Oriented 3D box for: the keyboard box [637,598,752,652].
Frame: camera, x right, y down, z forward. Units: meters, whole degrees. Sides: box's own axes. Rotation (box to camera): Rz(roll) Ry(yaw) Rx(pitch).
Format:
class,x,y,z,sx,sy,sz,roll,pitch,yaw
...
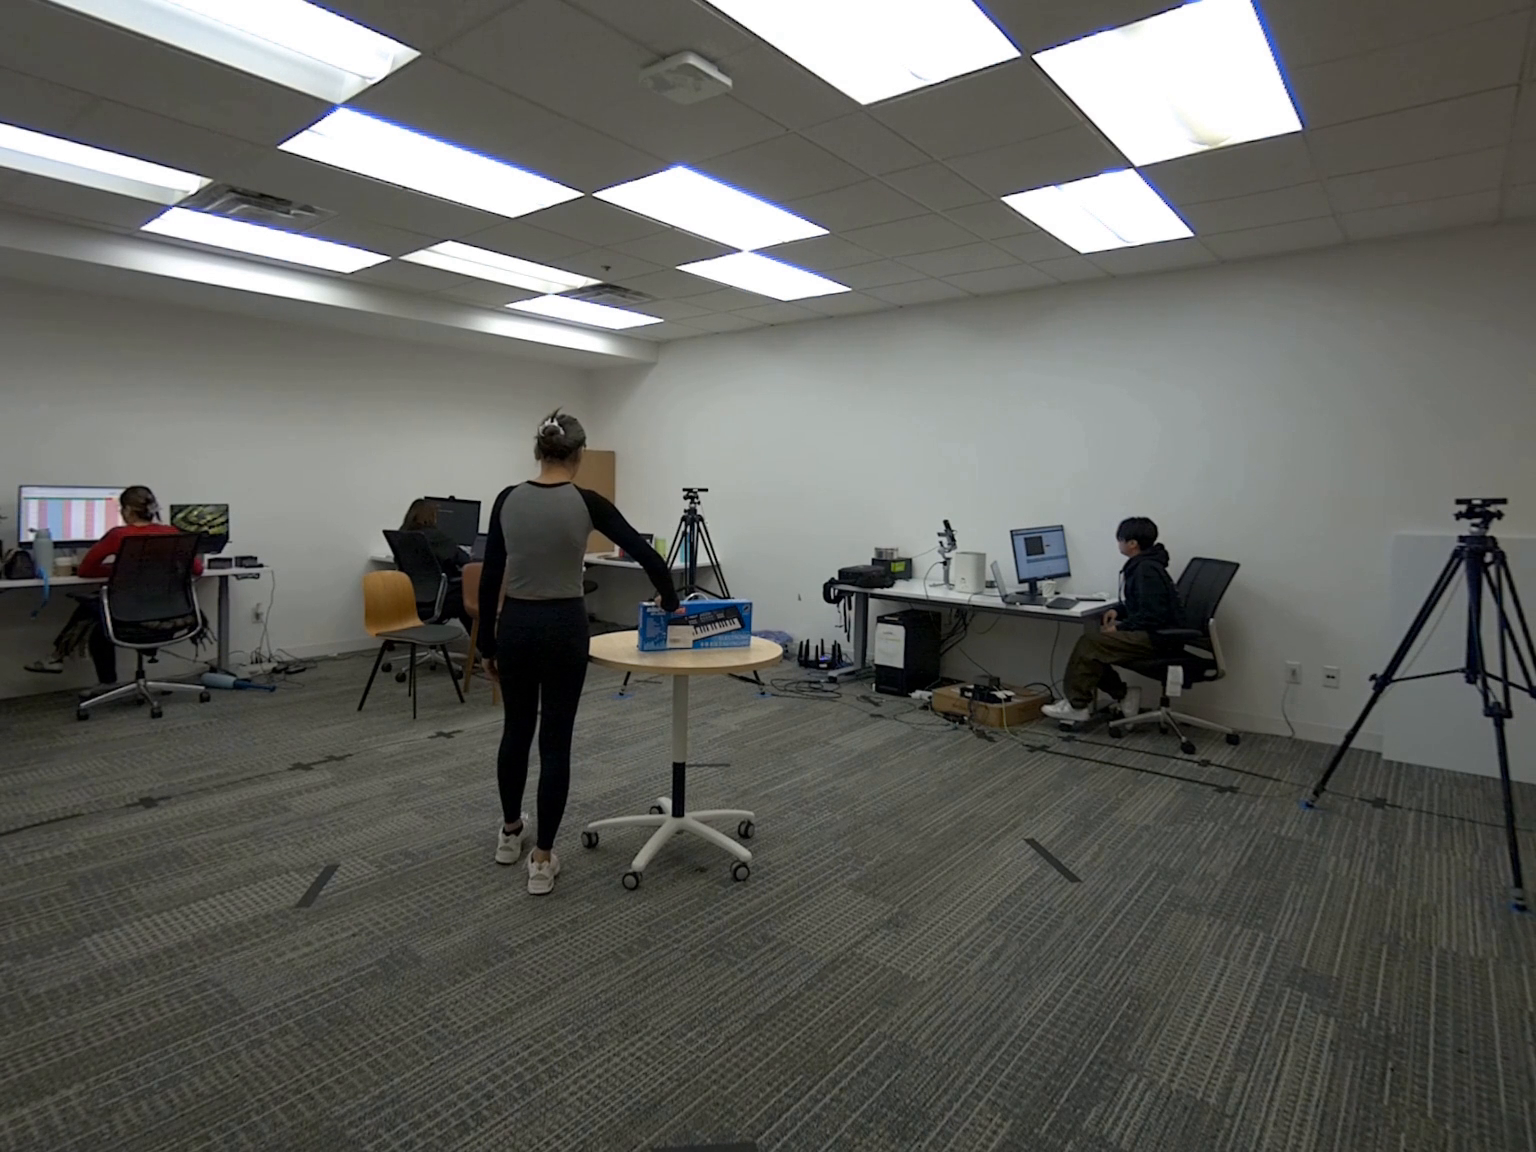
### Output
class,x,y,z,sx,sy,sz,roll,pitch,yaw
keyboard box,-0.281,0.184,3.193,0.427,0.175,0.061,-1,6,-22
